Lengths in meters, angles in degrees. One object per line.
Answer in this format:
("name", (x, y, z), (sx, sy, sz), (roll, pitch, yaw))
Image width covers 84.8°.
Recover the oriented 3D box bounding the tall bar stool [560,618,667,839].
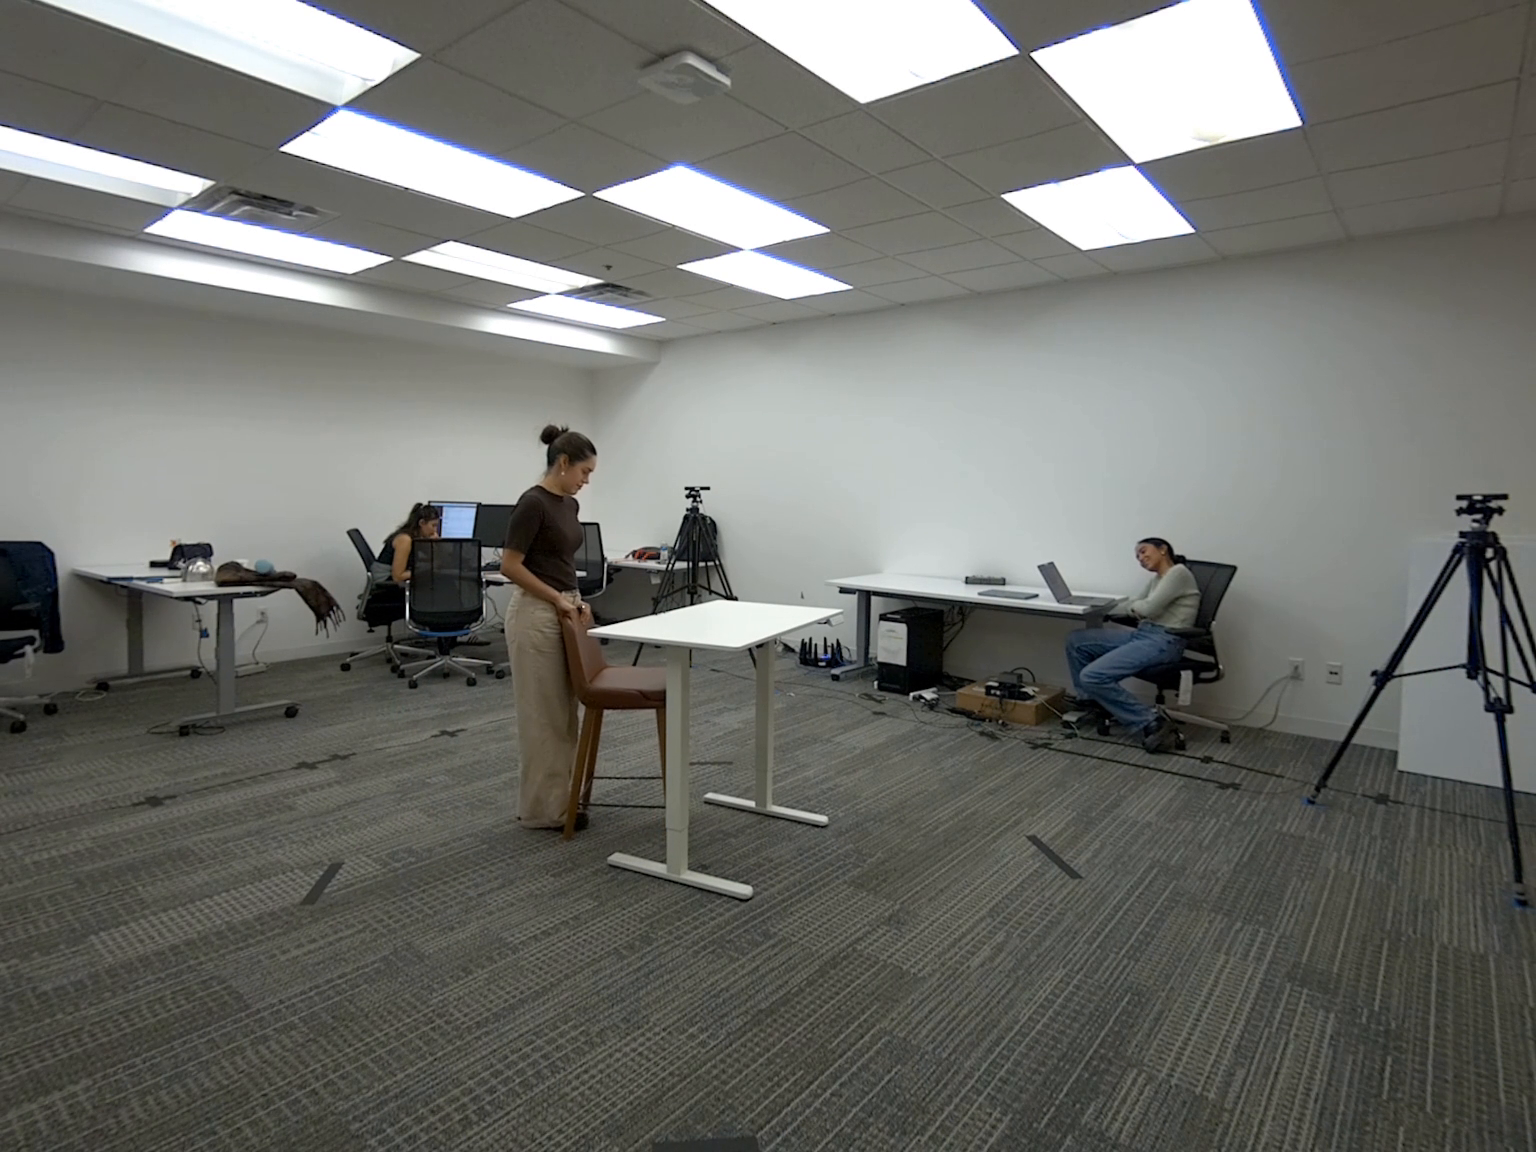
("tall bar stool", (-0.602, 0.591, 3.470), (0.468, 0.887, 0.457), (-2, 4, 1))
